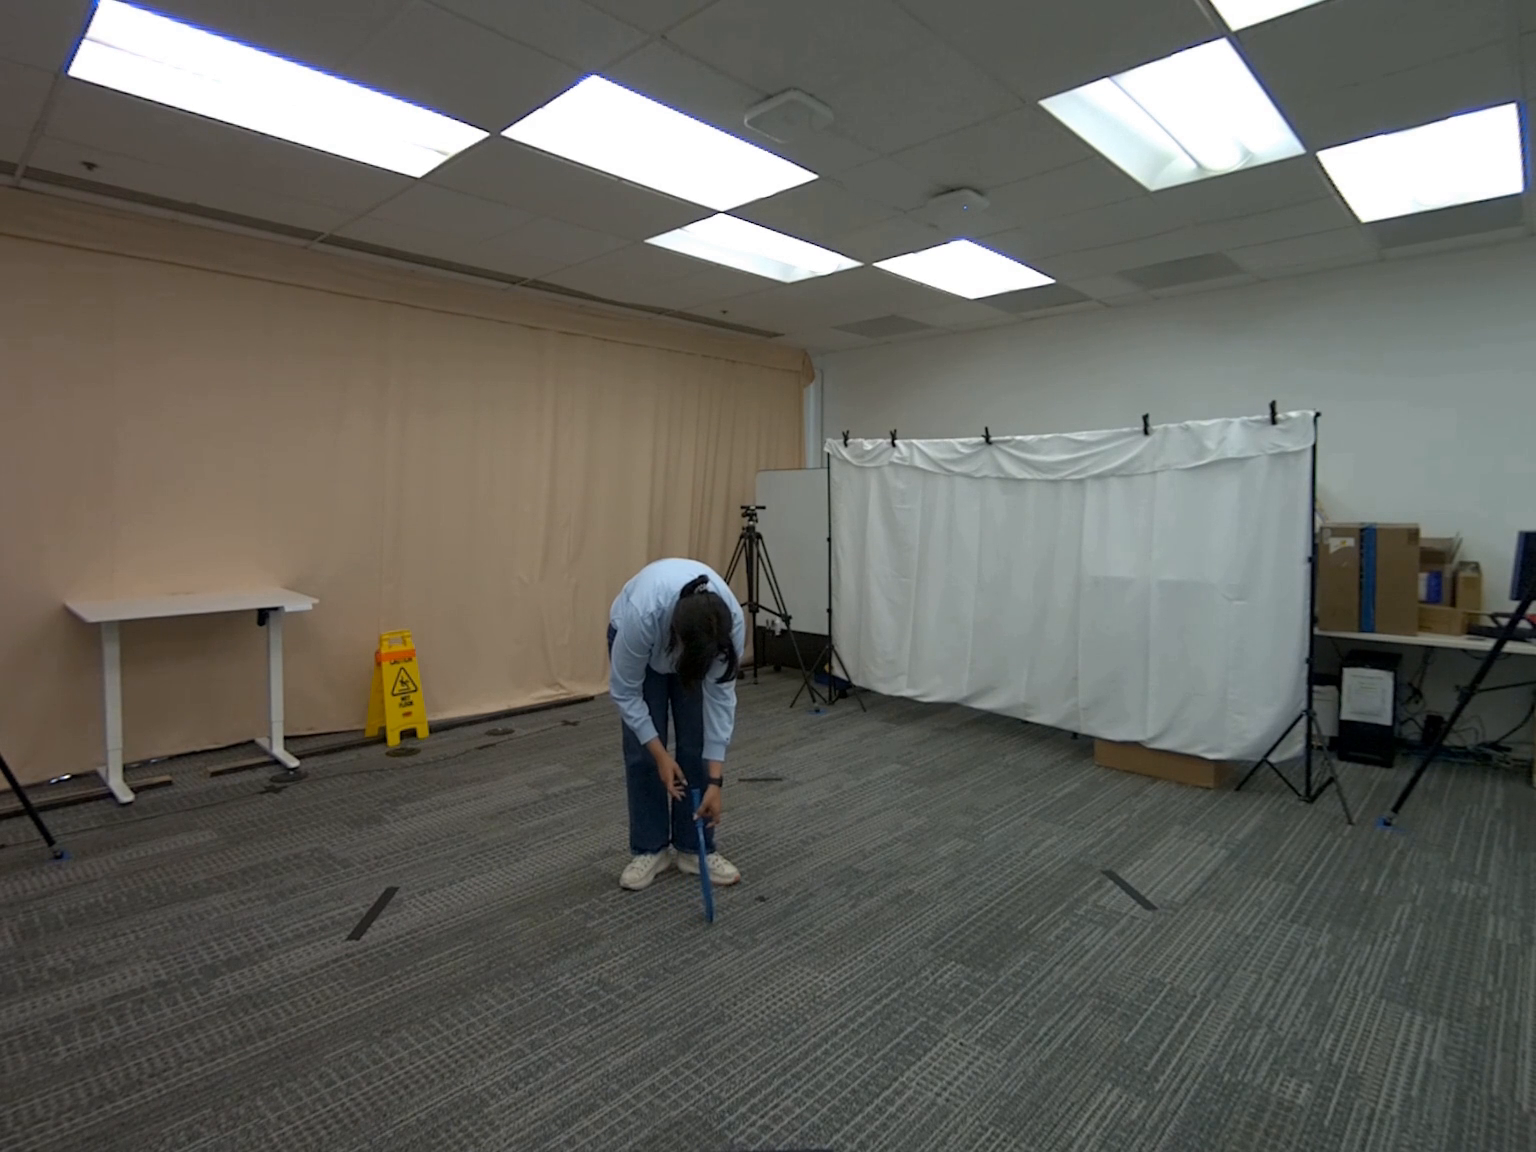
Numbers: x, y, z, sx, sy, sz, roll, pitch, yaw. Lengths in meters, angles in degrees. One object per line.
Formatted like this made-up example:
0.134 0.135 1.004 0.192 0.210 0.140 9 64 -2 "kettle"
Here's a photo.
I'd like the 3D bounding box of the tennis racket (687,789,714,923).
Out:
-0.211 0.944 2.849 0.031 0.435 0.215 -3 -8 -13 "tennis racket"
